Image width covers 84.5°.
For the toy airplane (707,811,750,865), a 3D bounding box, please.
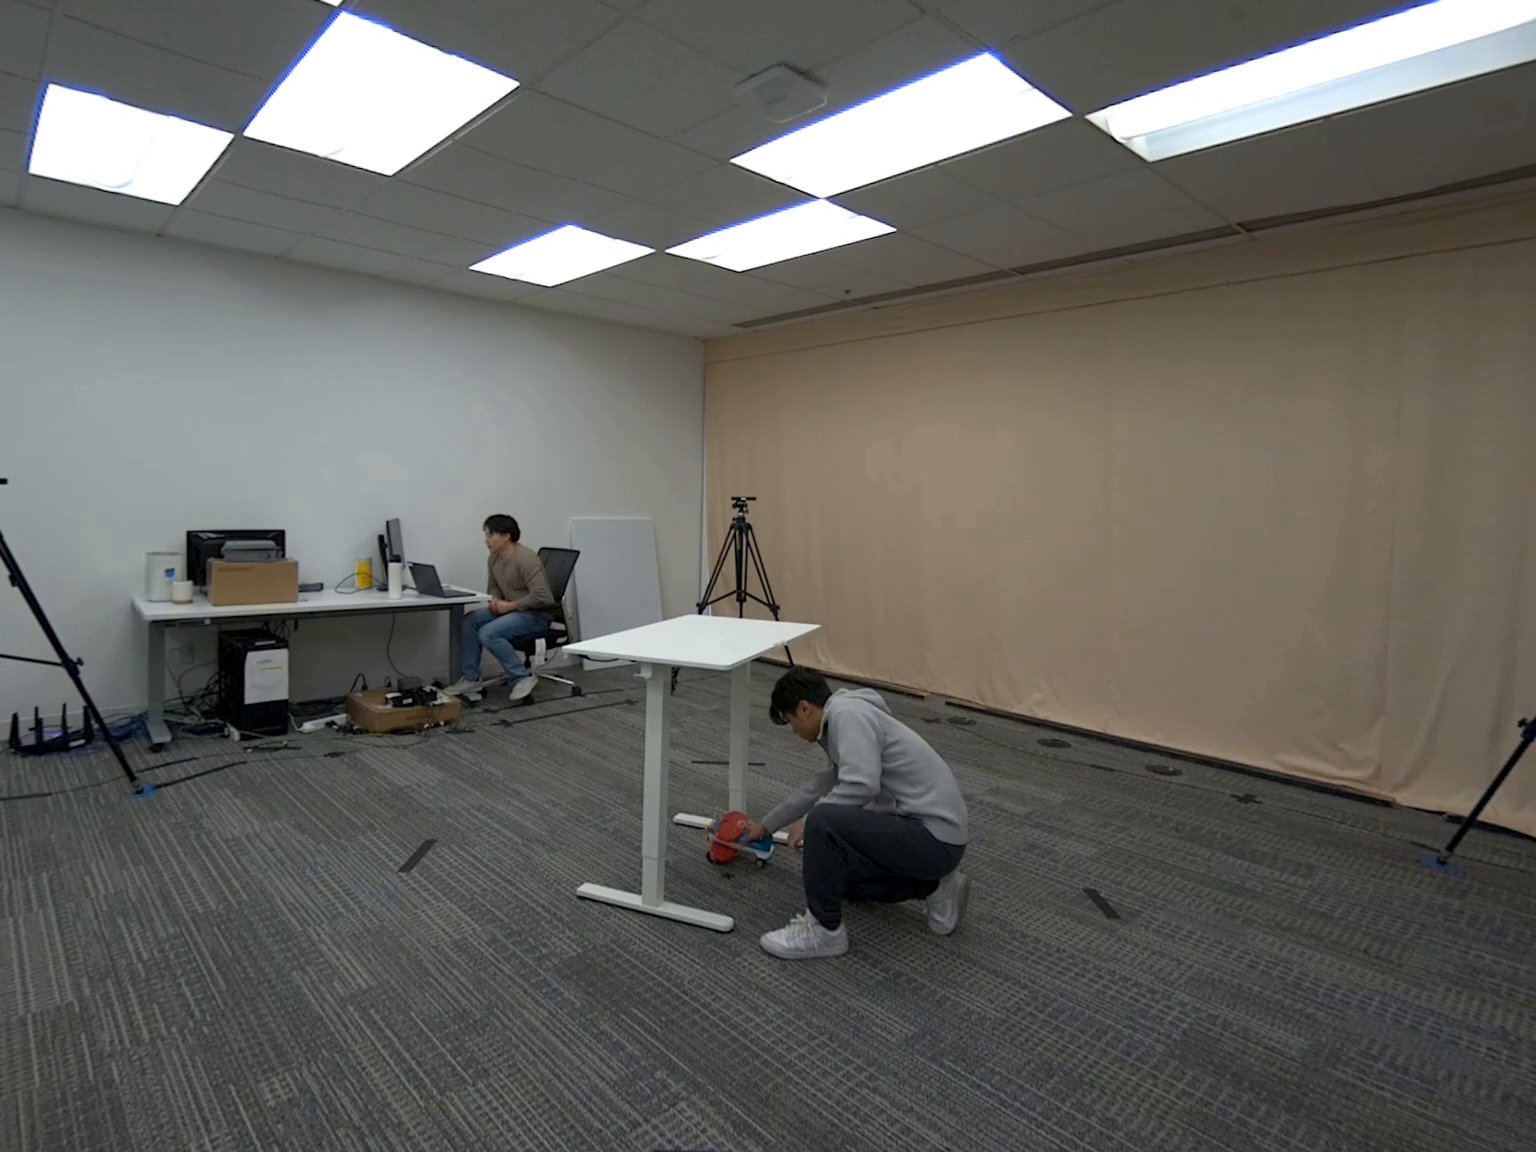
[{"bbox_3d":[-0.116,1.025,3.244,0.256,0.156,0.255,-2,7,-14],"label":"toy airplane"}]
